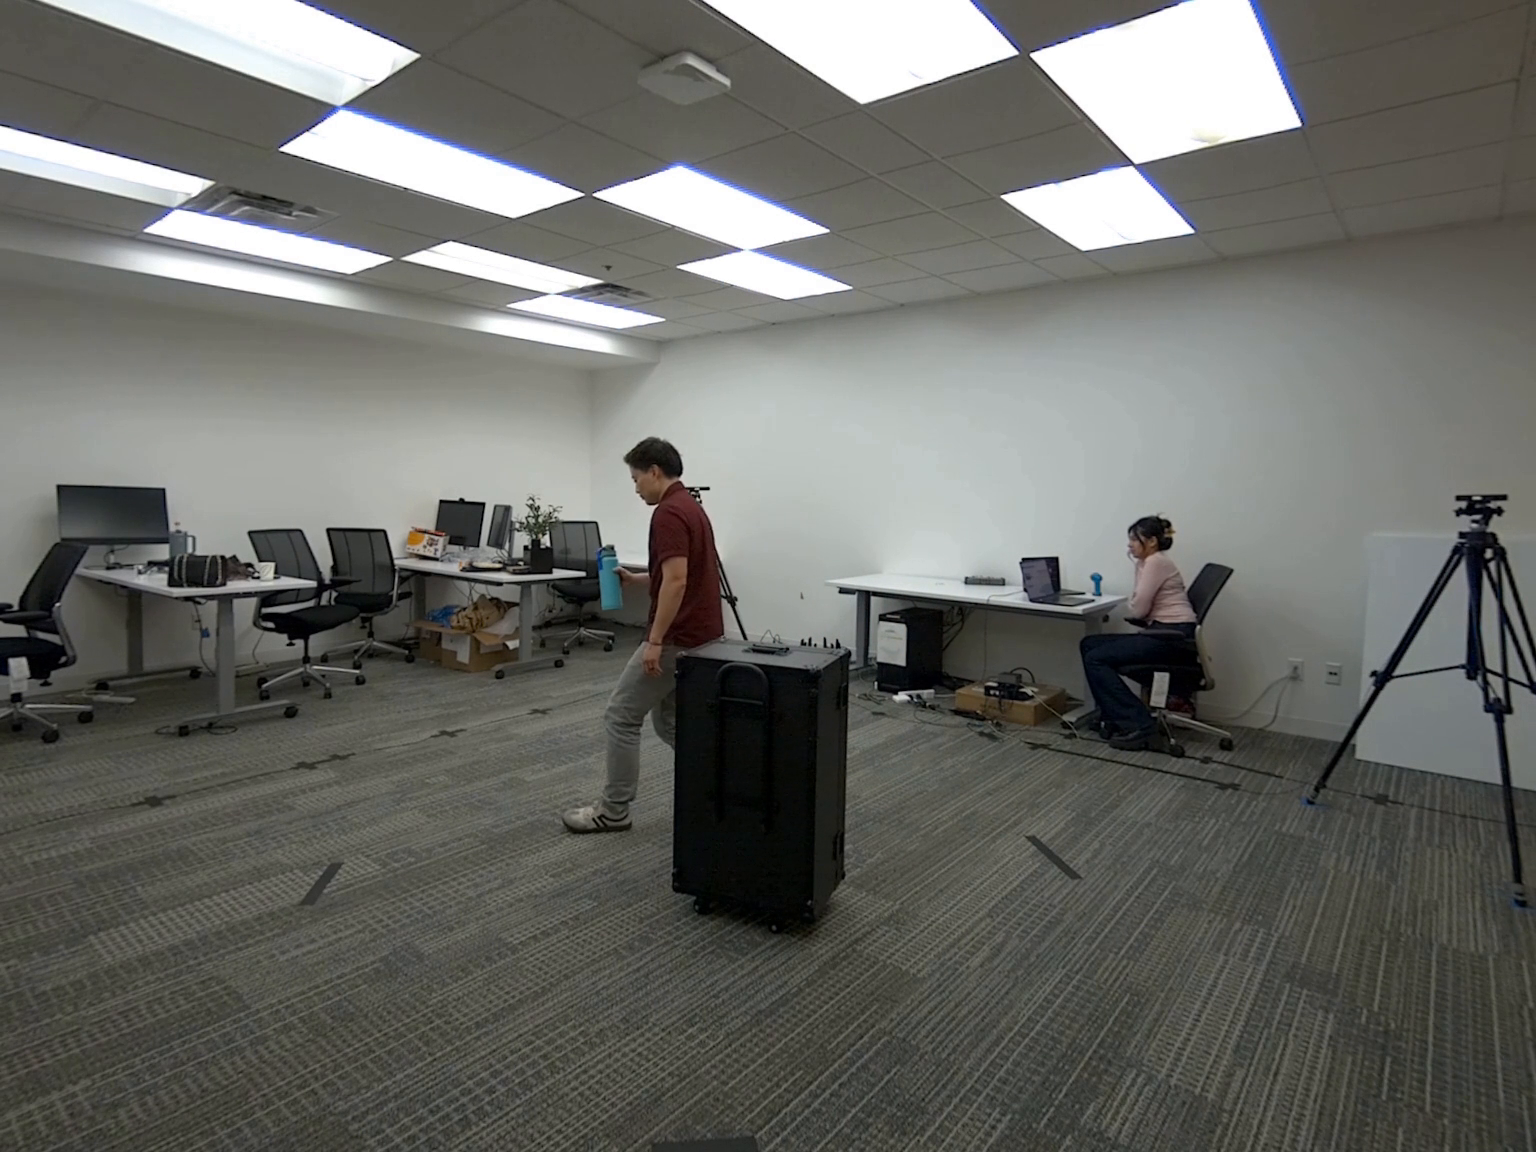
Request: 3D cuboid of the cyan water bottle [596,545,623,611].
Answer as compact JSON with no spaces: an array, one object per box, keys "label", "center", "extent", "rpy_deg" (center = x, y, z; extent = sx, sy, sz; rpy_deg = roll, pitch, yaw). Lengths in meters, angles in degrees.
[{"label":"cyan water bottle","center":[-0.713,0.004,3.734],"extent":[0.092,0.285,0.092],"rpy_deg":[-8,-4,-2]}]
